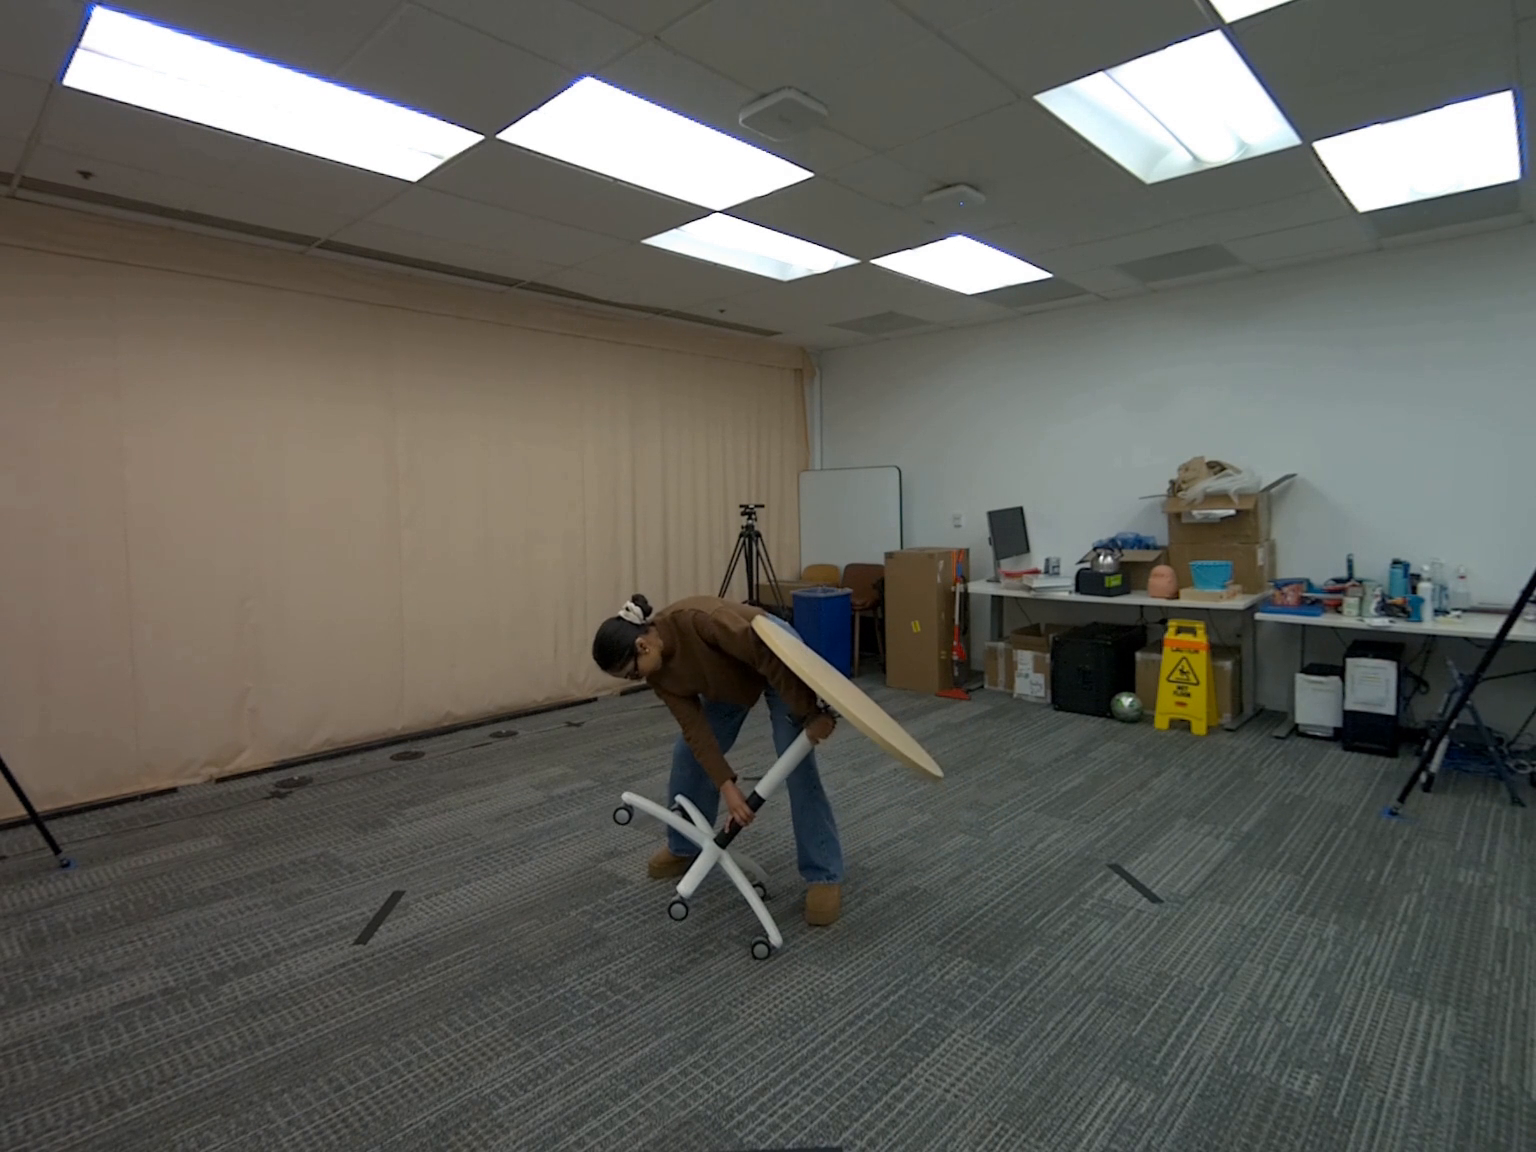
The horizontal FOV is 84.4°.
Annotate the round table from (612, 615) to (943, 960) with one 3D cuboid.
[{"bbox_3d":[0.003,0.680,2.730,0.760,0.794,0.768,39,3,-5],"label":"round table"}]
